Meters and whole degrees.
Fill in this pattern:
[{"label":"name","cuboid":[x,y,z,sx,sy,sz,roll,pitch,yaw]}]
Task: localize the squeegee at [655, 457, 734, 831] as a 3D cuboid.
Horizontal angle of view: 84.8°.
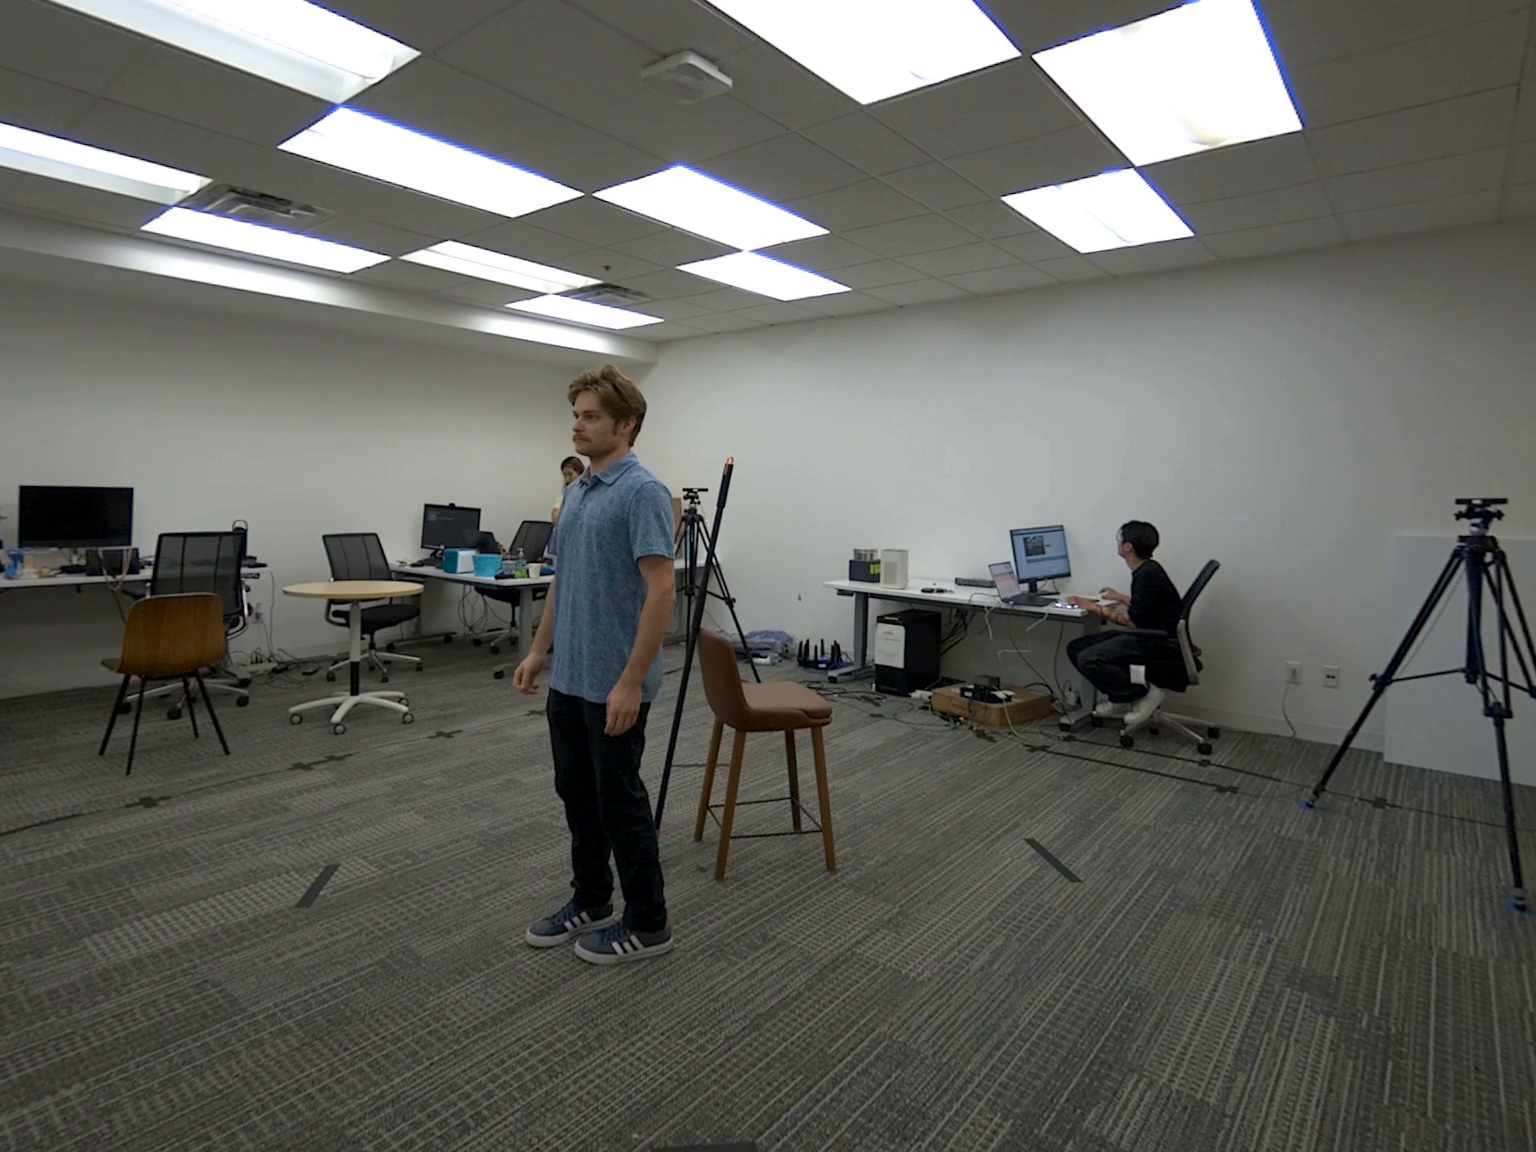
[{"label":"squeegee","cuboid":[-0.325,0.304,3.153,0.052,1.535,0.445,9,2,-14]}]
